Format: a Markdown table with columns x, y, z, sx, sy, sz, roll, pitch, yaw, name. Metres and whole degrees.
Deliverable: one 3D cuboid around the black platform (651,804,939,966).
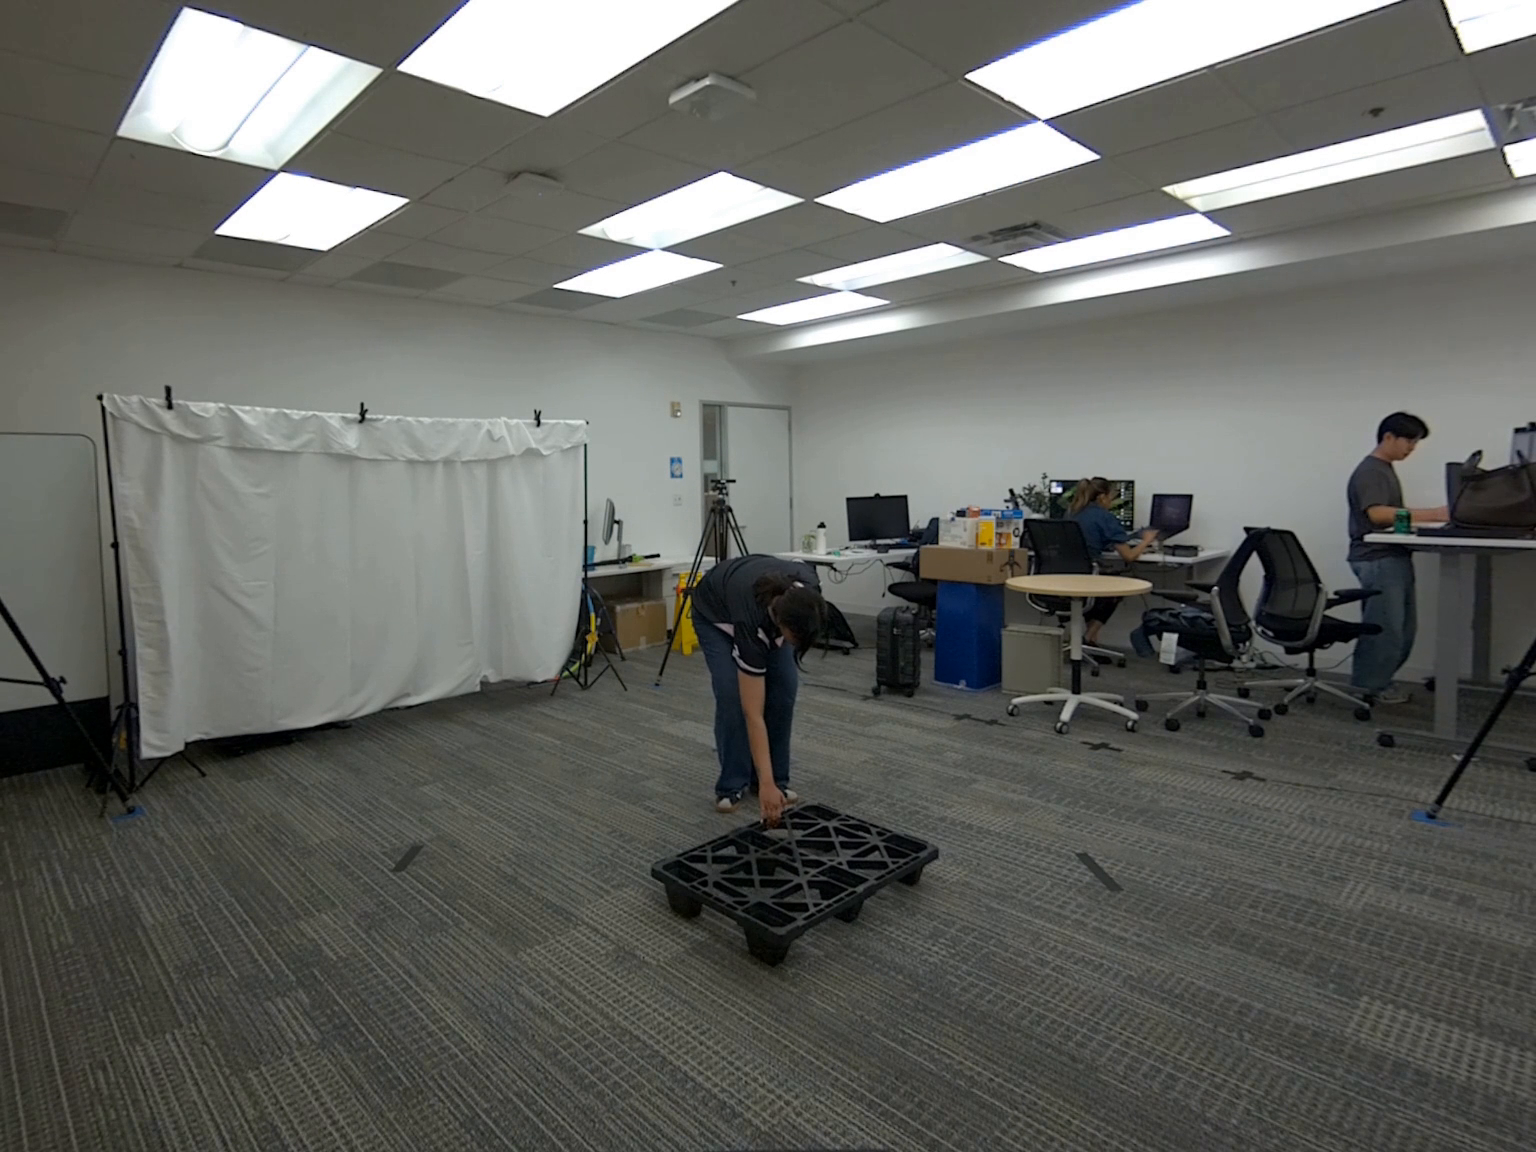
| x | y | z | sx | sy | sz | roll | pitch | yaw | name |
| --- | --- | --- | --- | --- | --- | --- | --- | --- | --- |
| 0.104 | 1.006 | 2.871 | 0.785 | 0.142 | 0.624 | -8 | 10 | -44 | black platform |
